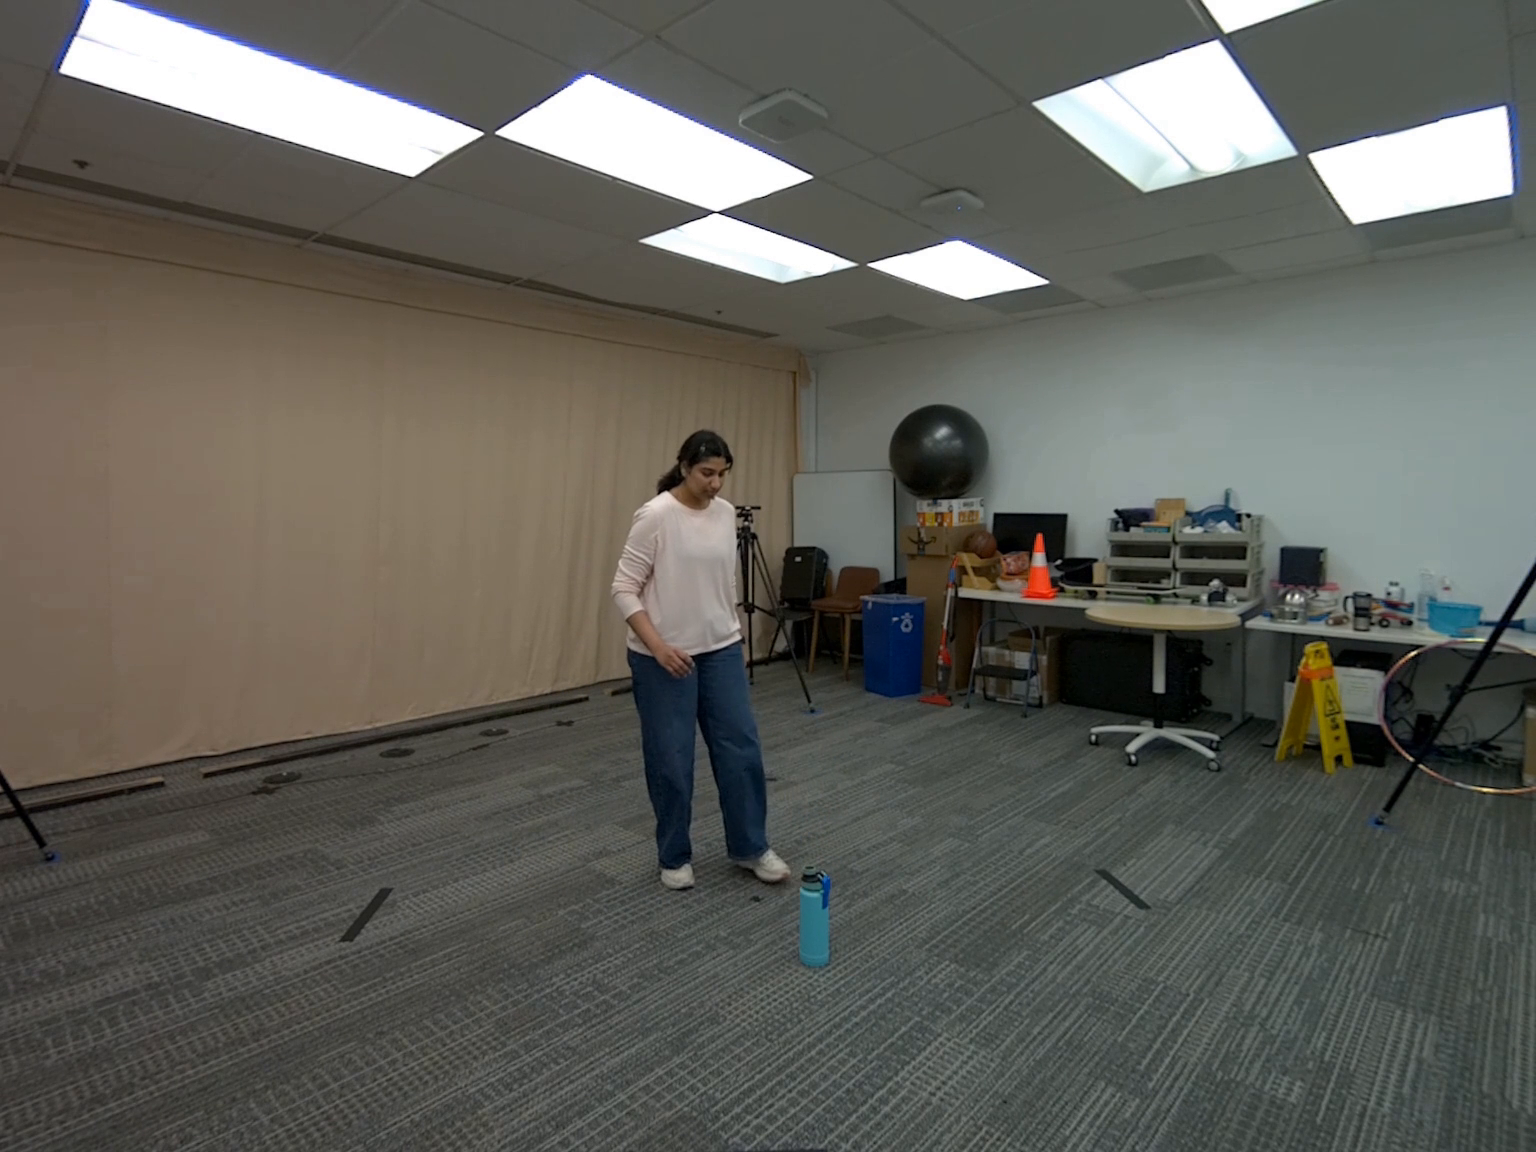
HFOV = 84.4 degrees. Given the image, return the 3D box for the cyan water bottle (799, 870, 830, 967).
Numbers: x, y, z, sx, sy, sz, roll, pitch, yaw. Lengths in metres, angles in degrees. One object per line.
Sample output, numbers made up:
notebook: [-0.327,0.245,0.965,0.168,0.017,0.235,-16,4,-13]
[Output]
cyan water bottle: [0.150,1.040,2.573,0.092,0.283,0.092,0,3,-2]
